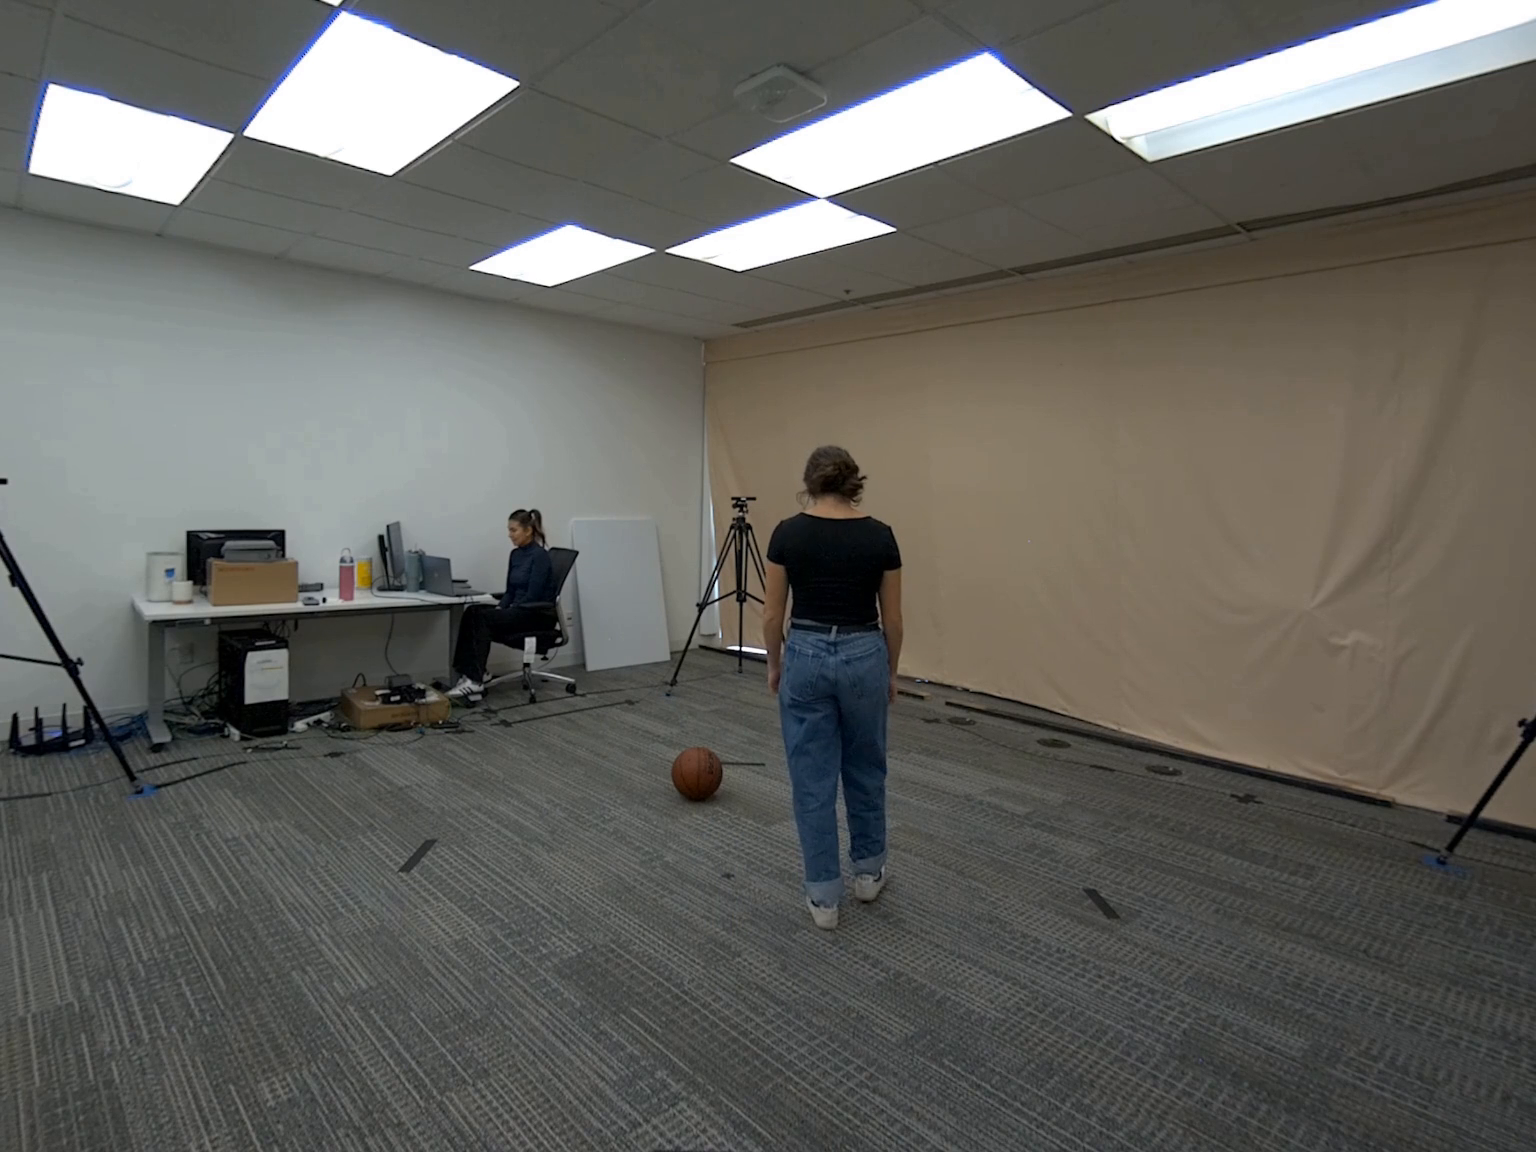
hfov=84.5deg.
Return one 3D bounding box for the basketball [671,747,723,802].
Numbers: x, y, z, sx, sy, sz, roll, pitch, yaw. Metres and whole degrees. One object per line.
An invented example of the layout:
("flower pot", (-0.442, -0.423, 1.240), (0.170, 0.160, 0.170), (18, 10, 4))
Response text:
("basketball", (-0.339, 0.910, 3.906), (0.236, 0.235, 0.237), (1, 4, -1))
